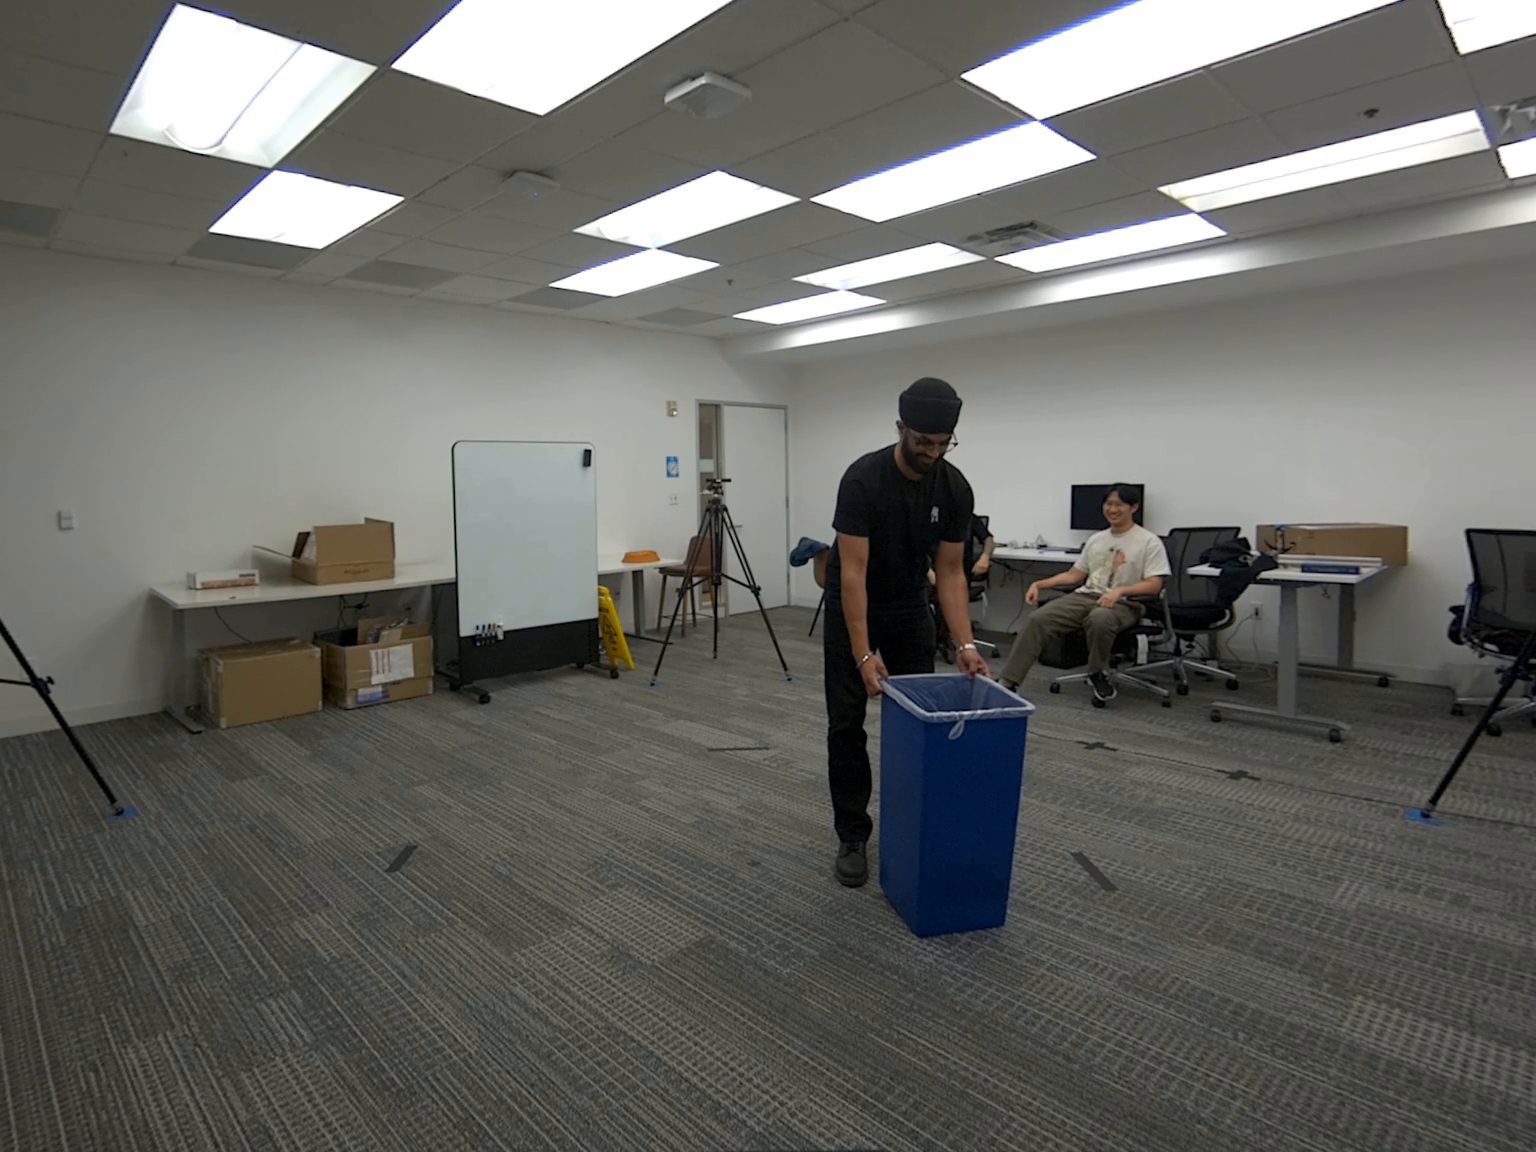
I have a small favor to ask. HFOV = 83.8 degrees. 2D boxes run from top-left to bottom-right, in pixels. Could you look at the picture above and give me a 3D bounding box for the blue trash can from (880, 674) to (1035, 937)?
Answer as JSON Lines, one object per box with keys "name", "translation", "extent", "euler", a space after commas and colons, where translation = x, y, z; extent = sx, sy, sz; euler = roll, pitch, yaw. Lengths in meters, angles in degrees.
{"name": "blue trash can", "translation": [0.560, 0.713, 2.710], "extent": [0.373, 0.708, 0.382], "euler": [-1, 9, -15]}
